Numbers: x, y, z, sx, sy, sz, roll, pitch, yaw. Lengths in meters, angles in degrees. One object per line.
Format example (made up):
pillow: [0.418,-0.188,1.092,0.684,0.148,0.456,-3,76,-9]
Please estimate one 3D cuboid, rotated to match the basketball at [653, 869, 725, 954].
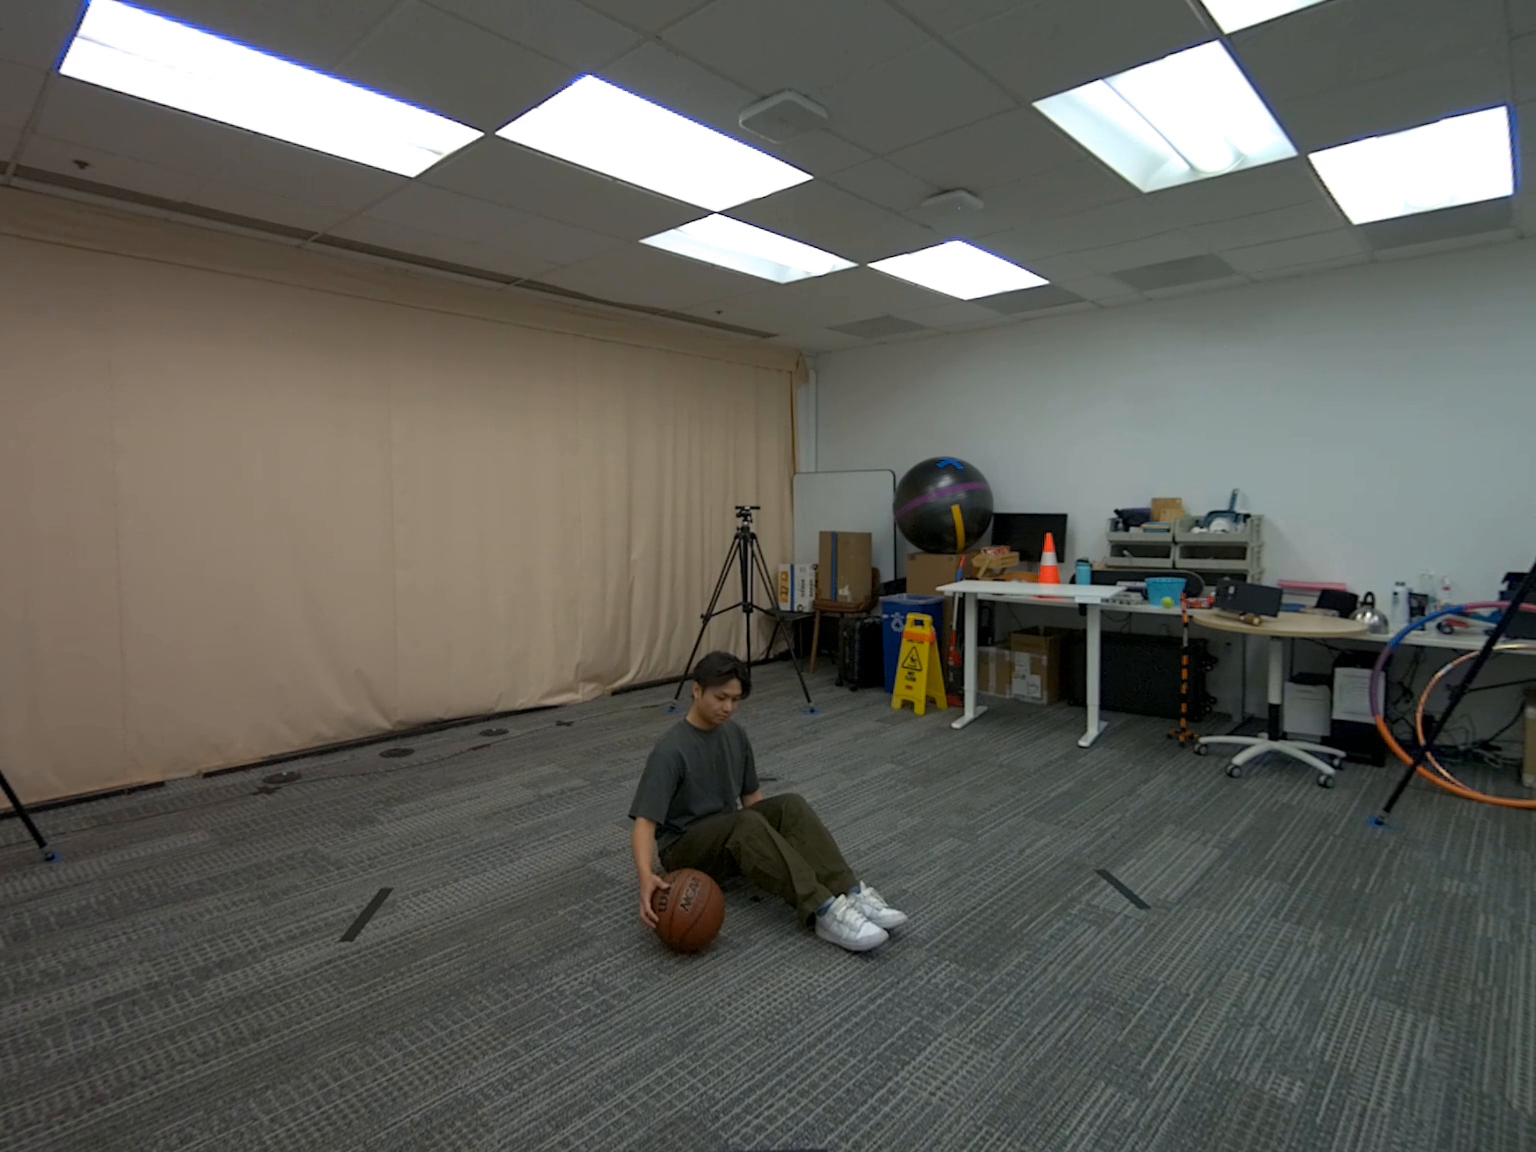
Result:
basketball: [-0.251,1.049,2.655,0.236,0.235,0.237,0,4,-2]
